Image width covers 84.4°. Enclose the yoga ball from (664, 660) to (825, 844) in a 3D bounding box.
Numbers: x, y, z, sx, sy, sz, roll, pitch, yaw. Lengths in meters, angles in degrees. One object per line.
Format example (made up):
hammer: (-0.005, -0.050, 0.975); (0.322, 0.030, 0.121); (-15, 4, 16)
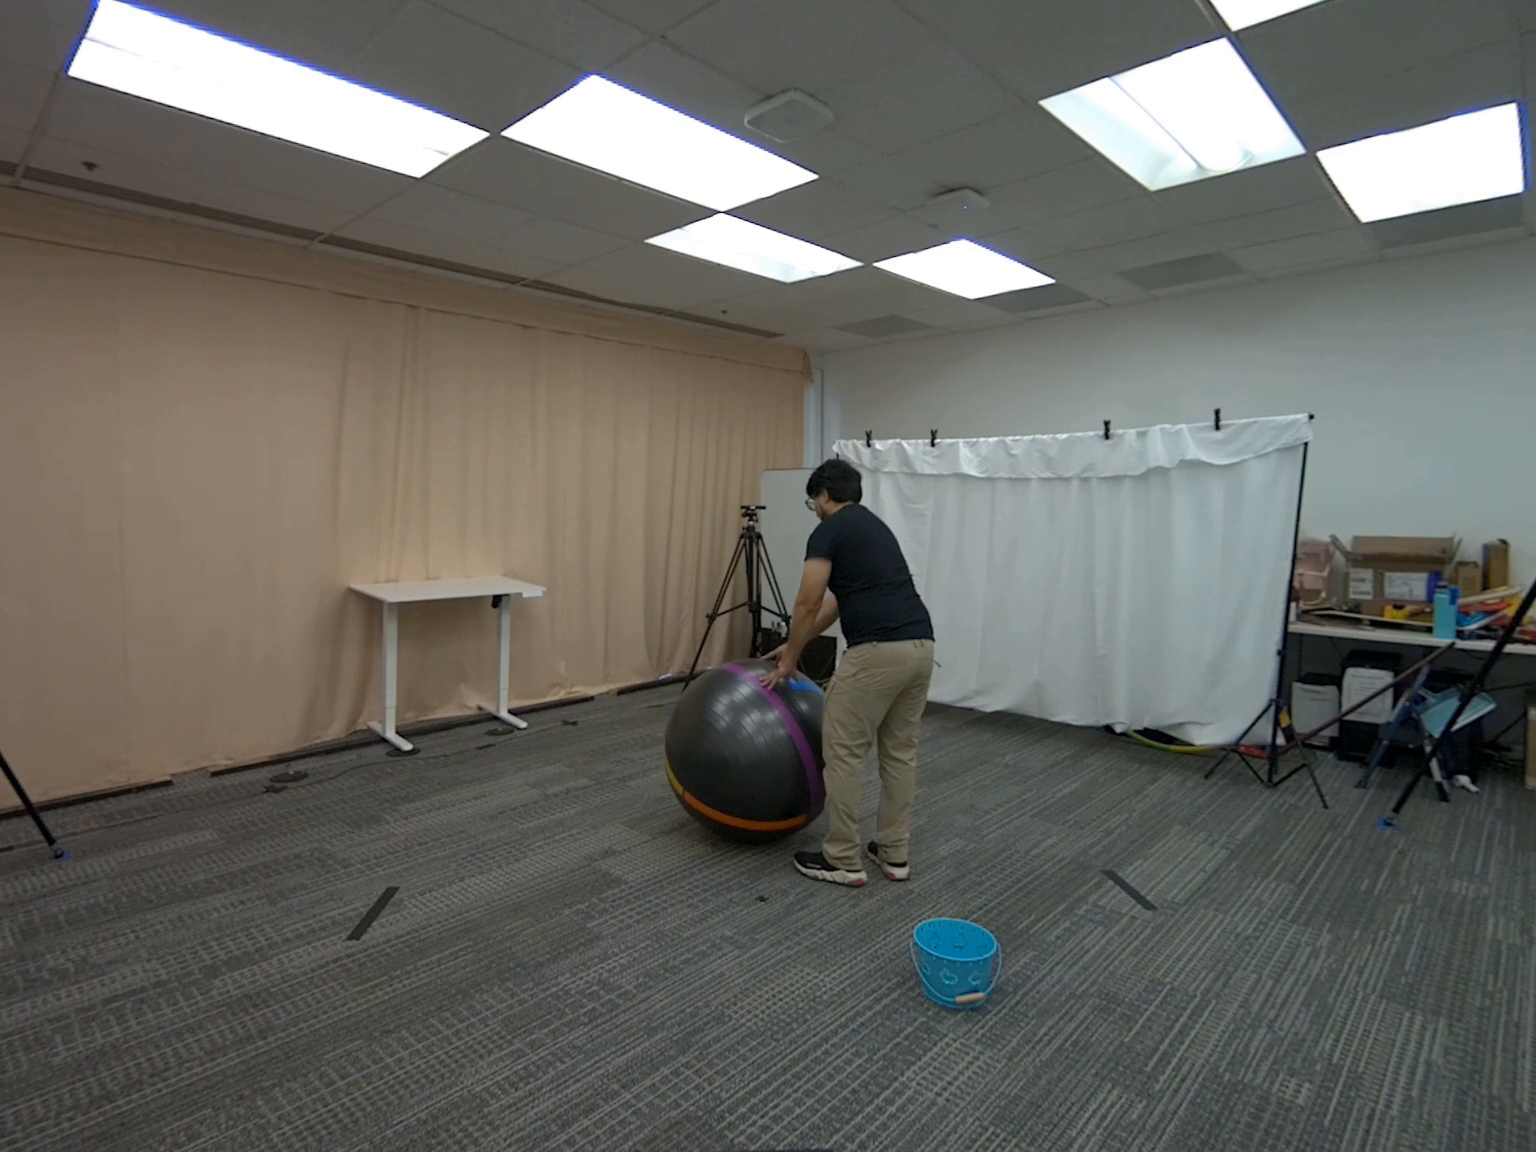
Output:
yoga ball: (-0.065, 0.733, 3.569); (0.757, 0.756, 0.760); (0, 4, -2)
